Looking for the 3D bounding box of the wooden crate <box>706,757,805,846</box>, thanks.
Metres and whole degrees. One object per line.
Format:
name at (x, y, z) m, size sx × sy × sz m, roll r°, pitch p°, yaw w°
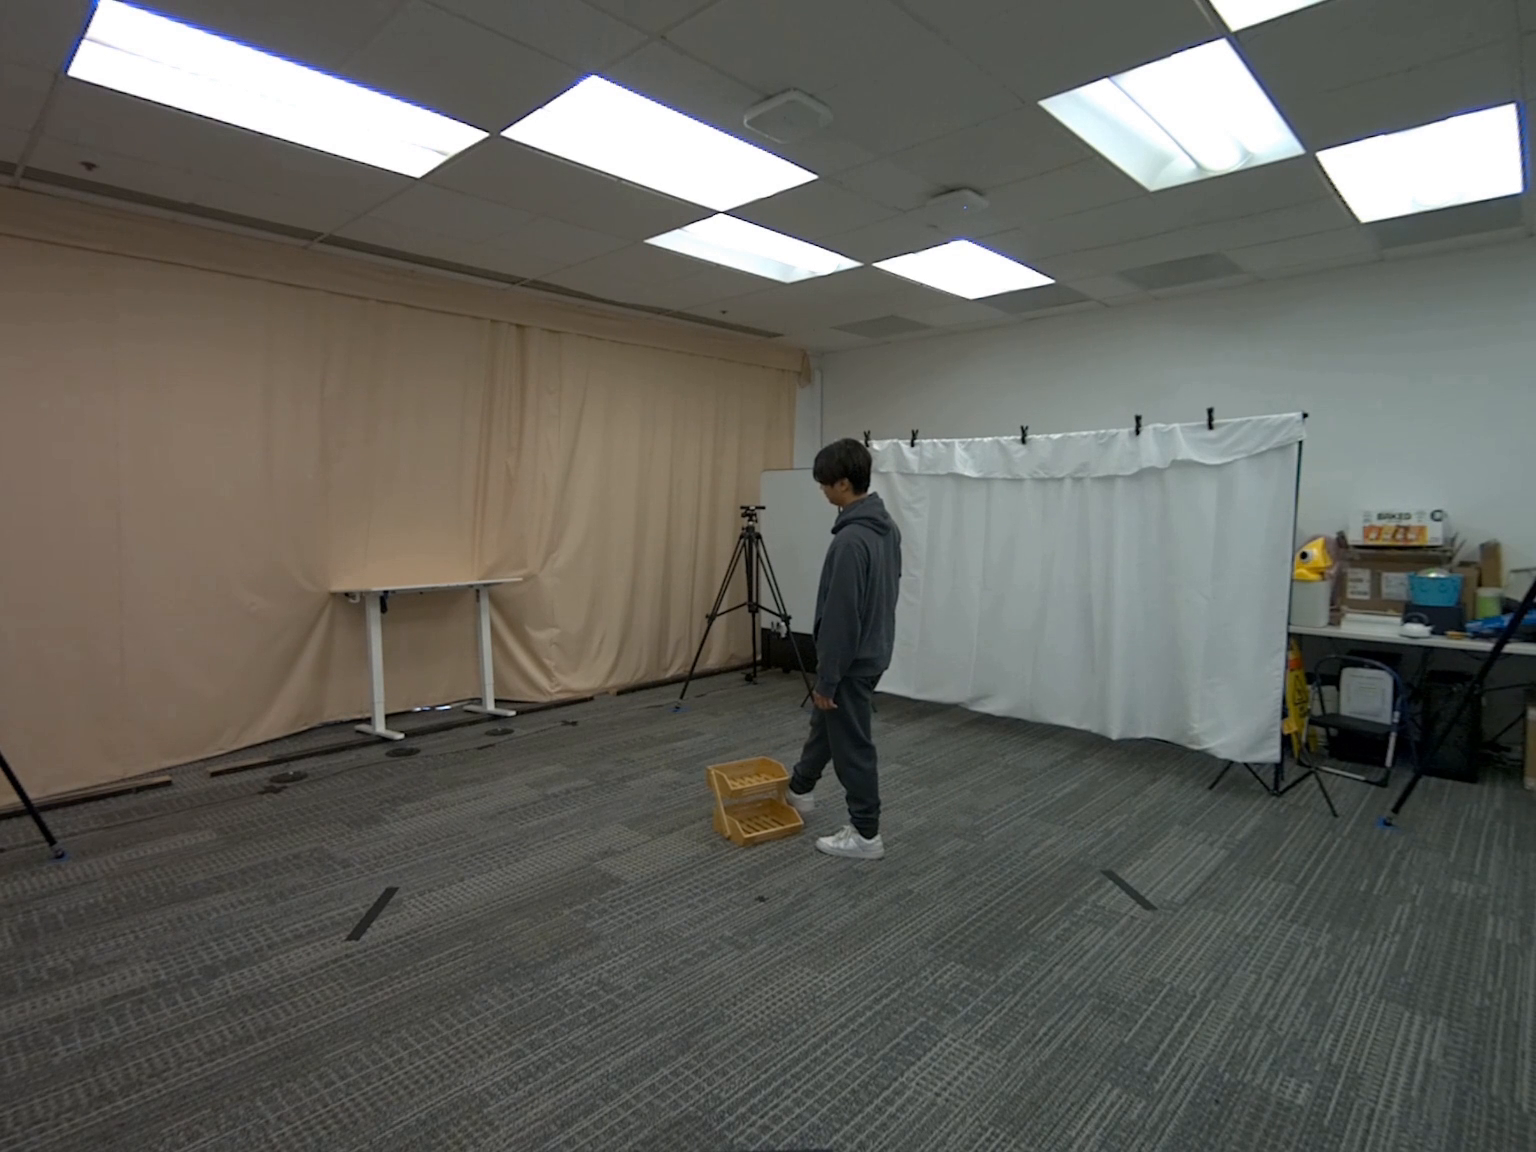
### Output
wooden crate at (-0.055, 0.955, 3.616) m, size 0.315 × 0.273 × 0.311 m, roll -3°, pitch 3°, yaw -33°
